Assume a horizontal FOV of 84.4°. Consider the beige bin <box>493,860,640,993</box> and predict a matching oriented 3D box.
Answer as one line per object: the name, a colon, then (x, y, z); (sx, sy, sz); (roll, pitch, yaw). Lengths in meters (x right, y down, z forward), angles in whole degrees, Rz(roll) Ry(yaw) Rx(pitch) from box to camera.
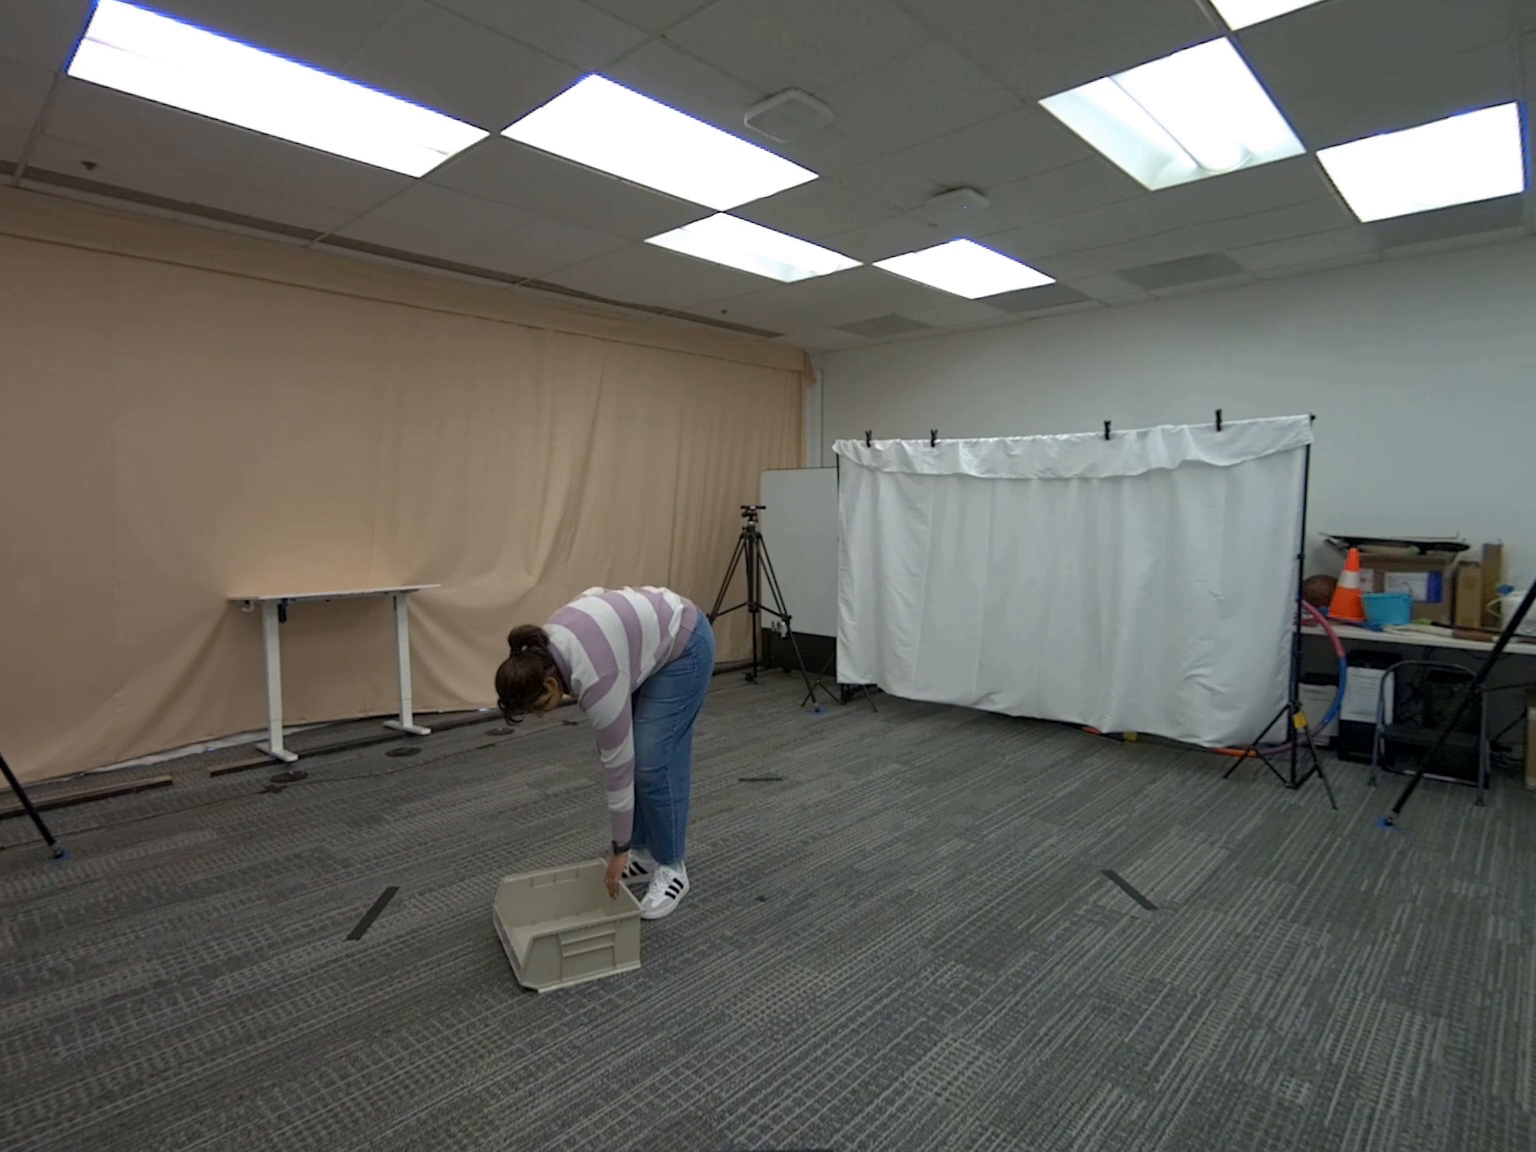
beige bin: (-0.635, 1.085, 2.644); (0.368, 0.189, 0.434); (-1, 4, -28)
